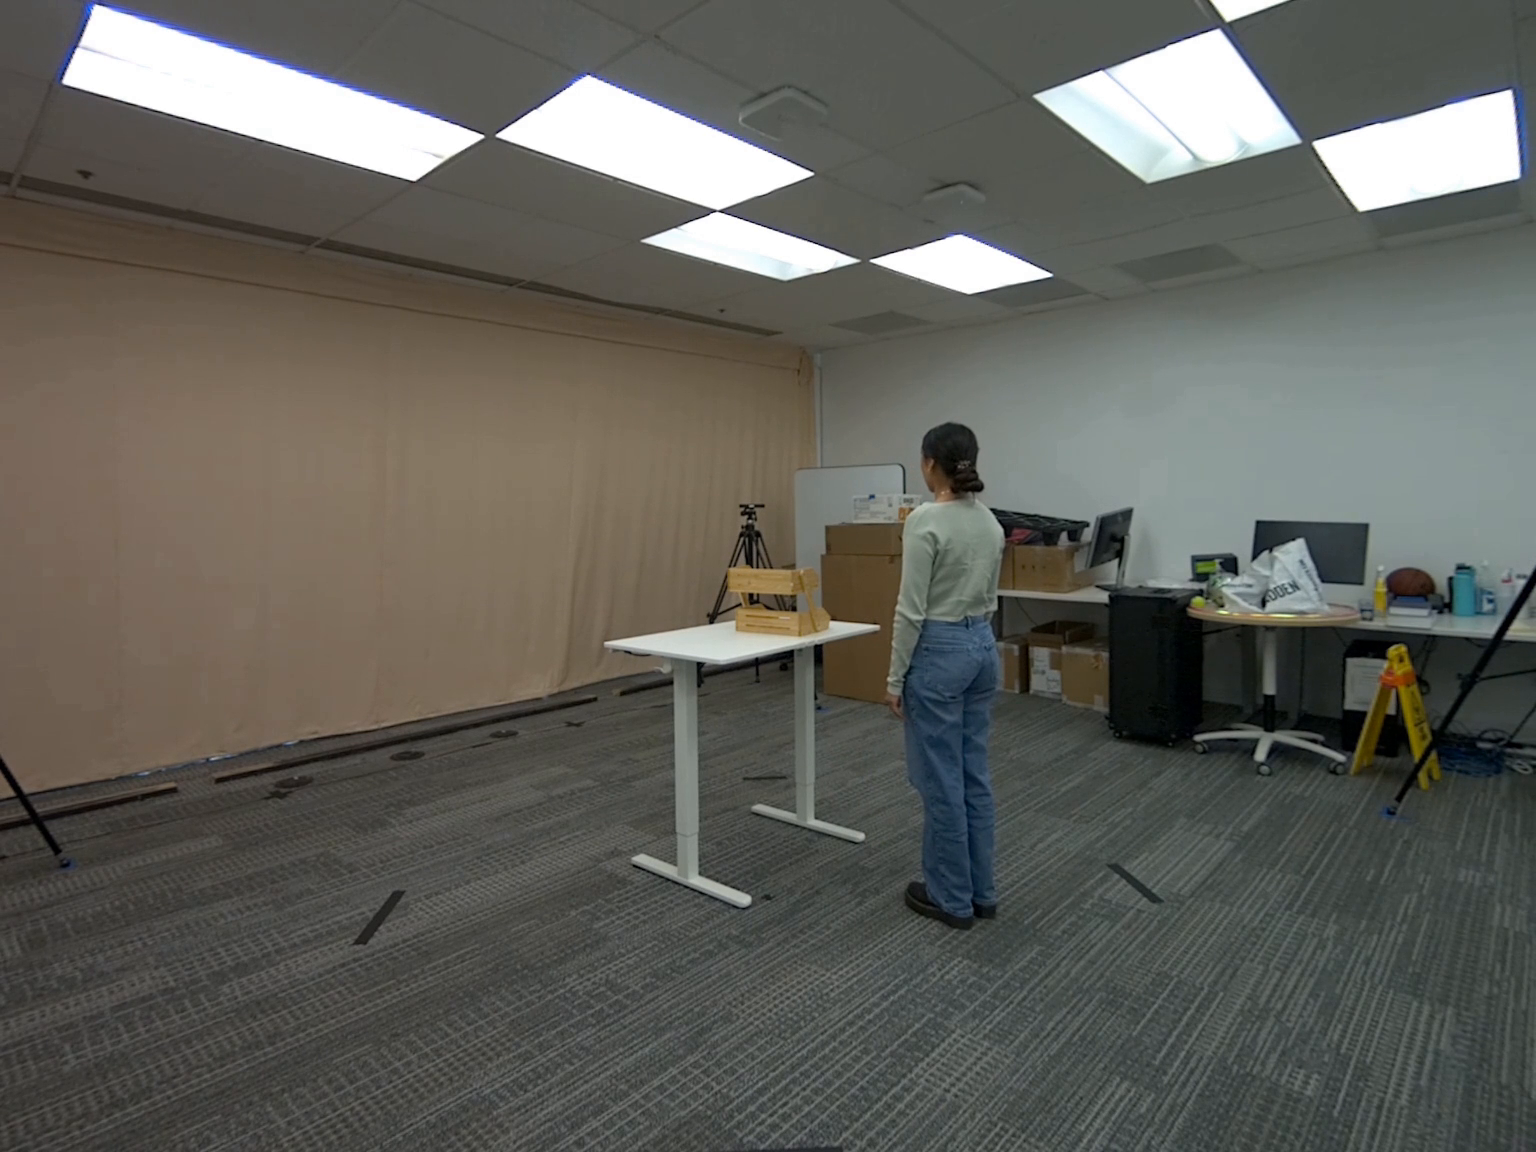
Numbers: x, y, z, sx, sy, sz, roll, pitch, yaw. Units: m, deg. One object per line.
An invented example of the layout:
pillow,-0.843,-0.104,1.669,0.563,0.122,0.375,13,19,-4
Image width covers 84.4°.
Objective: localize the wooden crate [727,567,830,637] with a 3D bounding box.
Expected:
wooden crate,0.051,0.090,3.406,0.334,0.273,0.294,1,4,33
